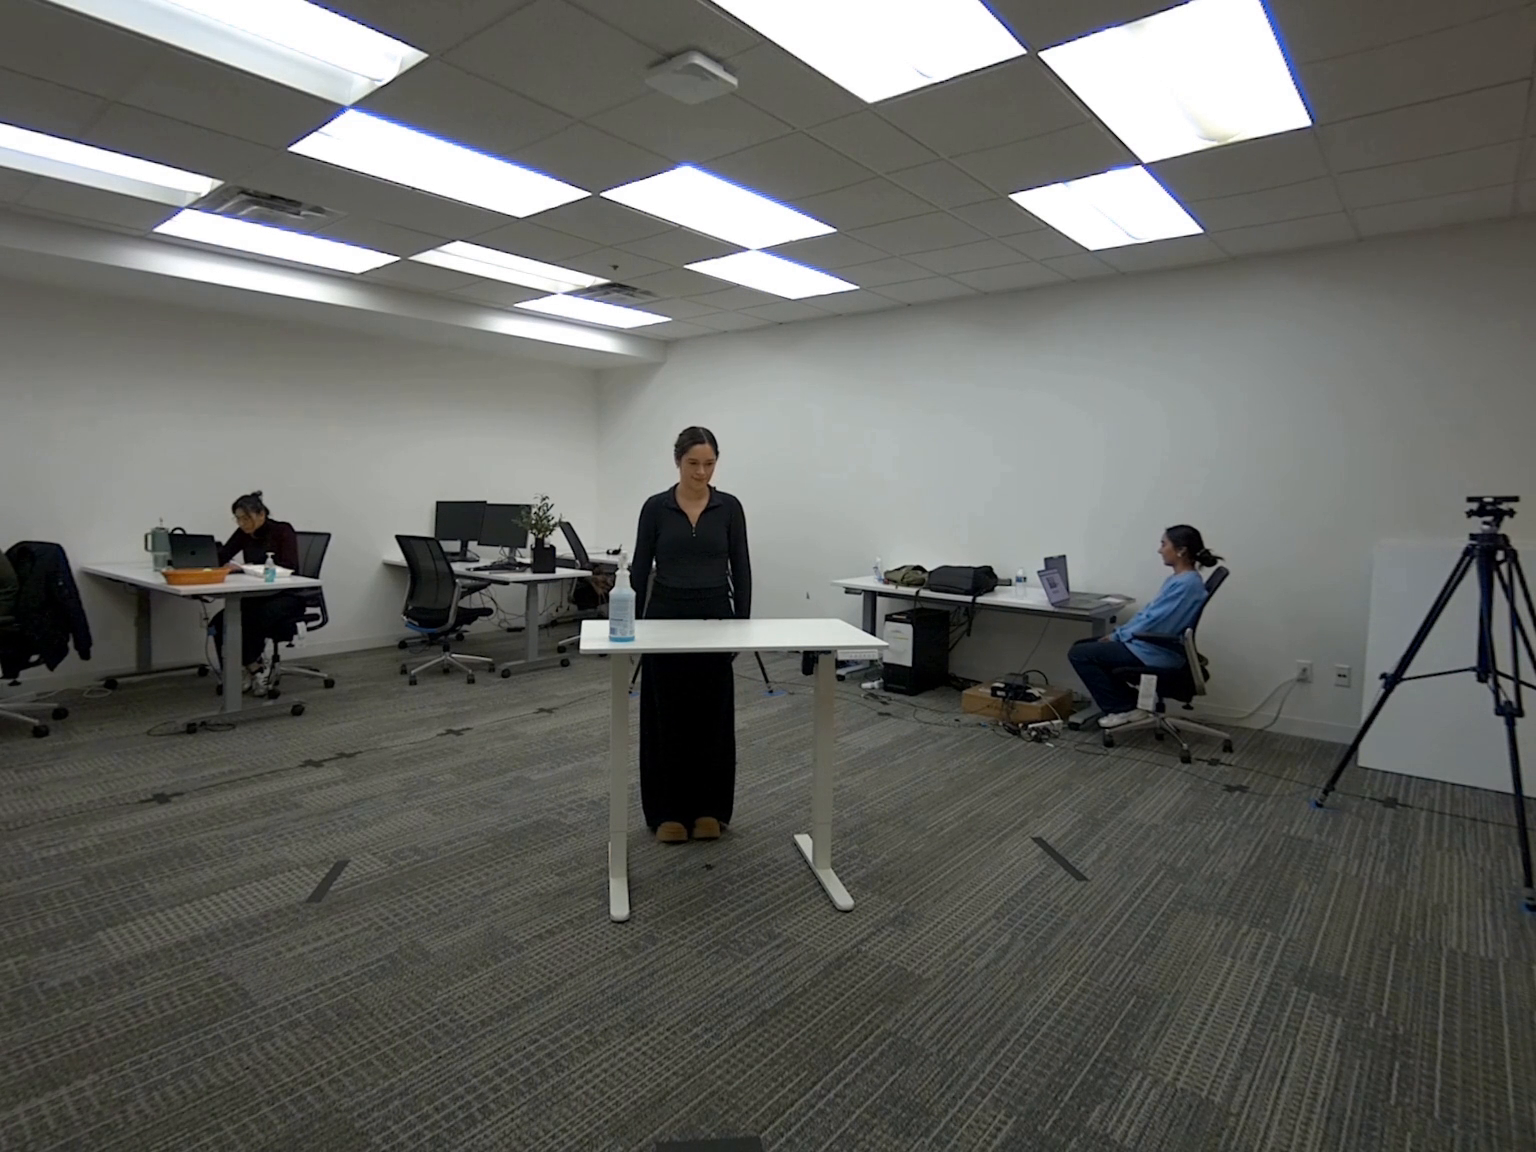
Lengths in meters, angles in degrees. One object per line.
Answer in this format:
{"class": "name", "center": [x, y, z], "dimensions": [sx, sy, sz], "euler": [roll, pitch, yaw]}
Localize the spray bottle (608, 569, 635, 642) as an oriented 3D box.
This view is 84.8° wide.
{"class": "spray bottle", "center": [-0.502, 0.066, 2.796], "dimensions": [0.088, 0.296, 0.089], "euler": [2, 4, 10]}
